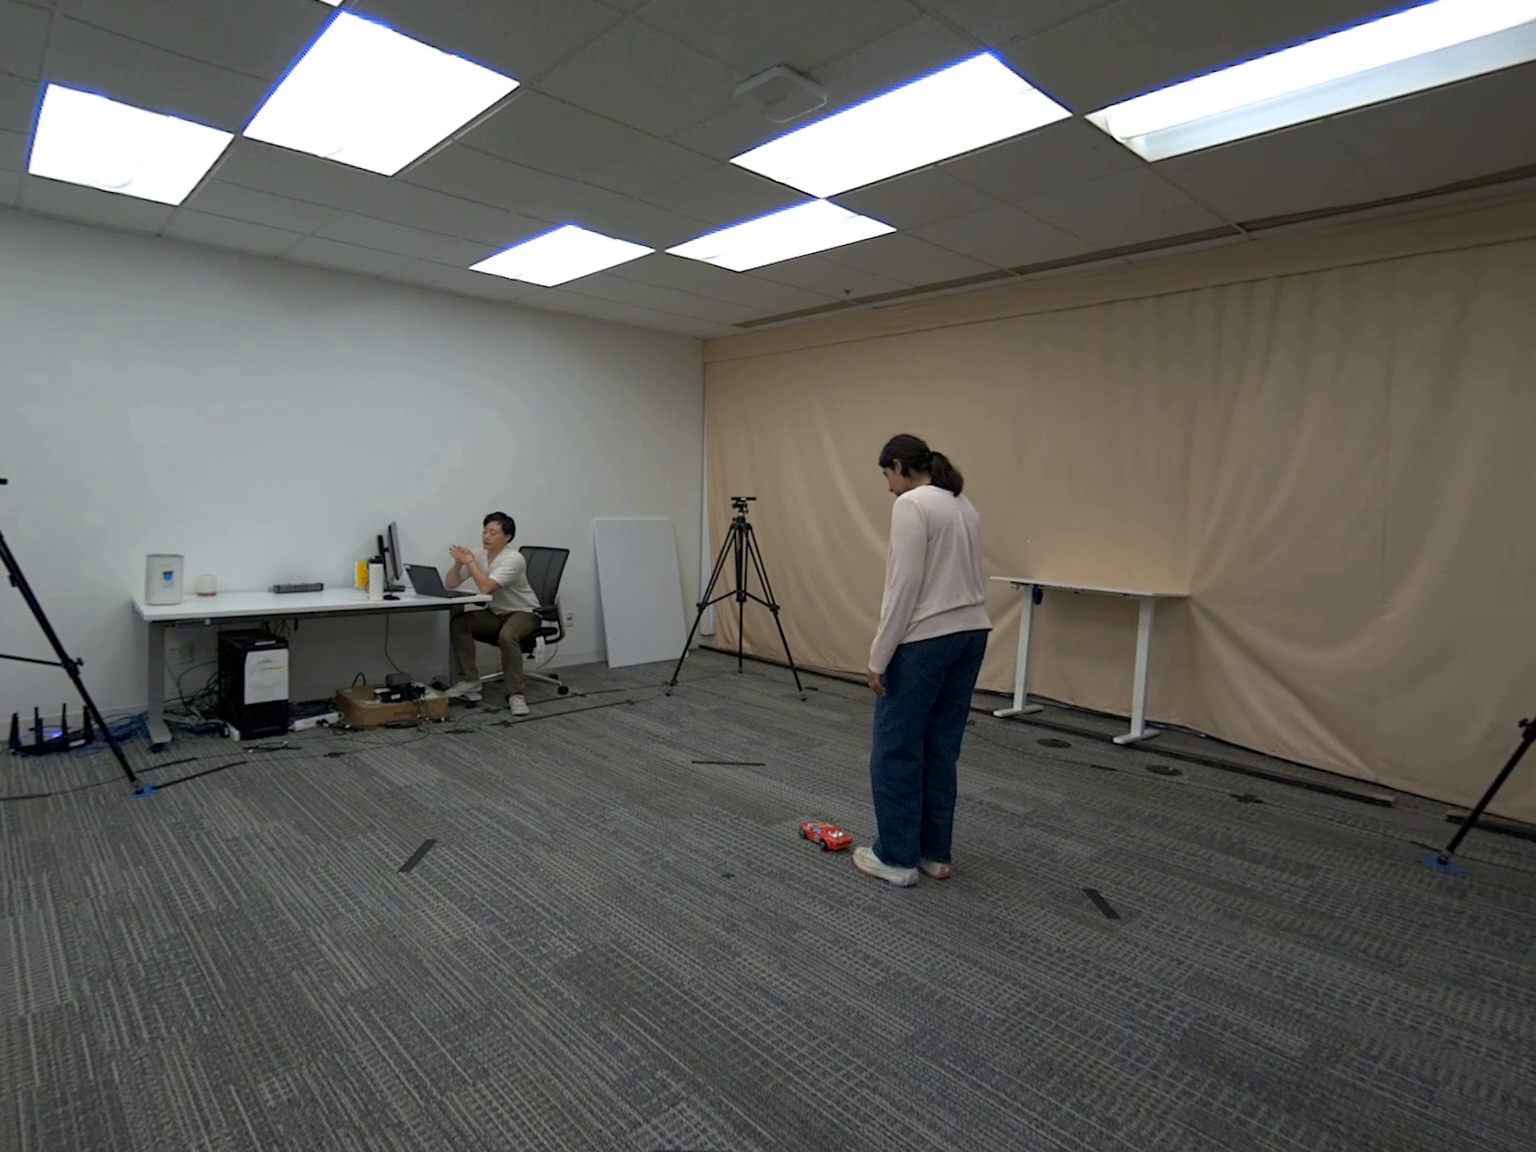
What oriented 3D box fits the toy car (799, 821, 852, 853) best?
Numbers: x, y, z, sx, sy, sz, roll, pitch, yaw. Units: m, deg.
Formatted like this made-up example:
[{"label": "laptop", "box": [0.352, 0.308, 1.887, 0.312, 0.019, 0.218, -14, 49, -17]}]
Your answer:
[{"label": "toy car", "box": [0.232, 1.061, 3.421, 0.127, 0.083, 0.259, -1, -5, -32]}]
